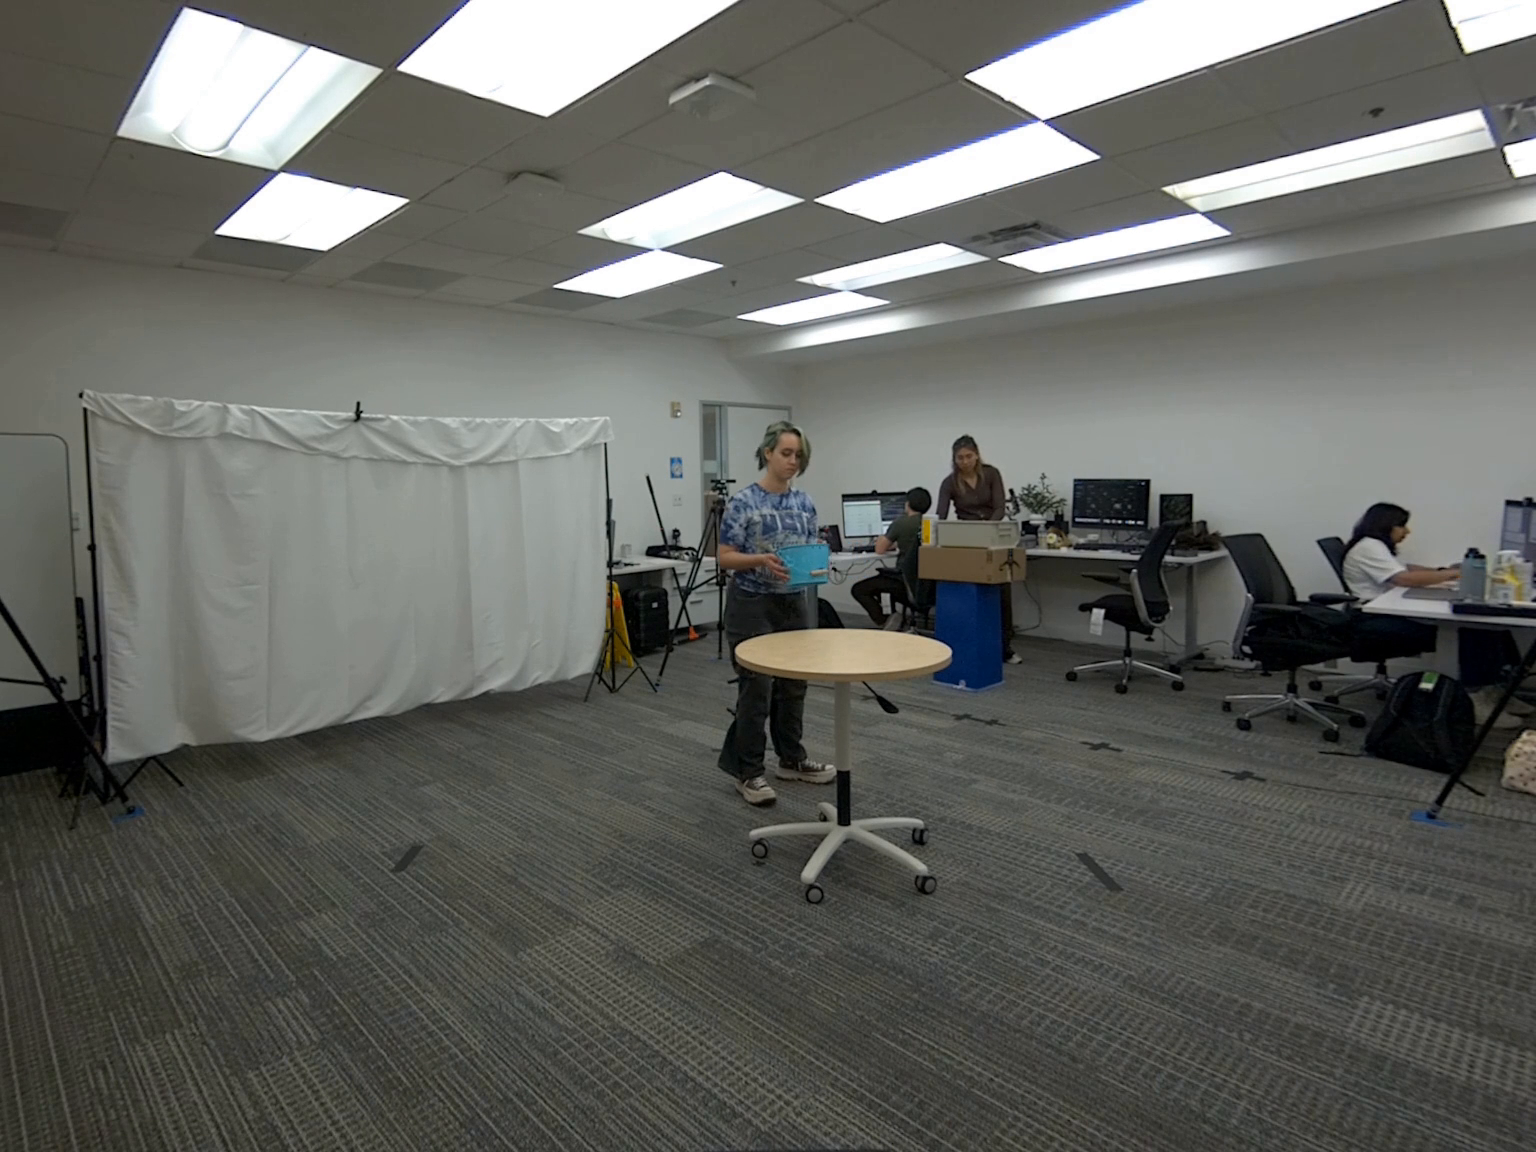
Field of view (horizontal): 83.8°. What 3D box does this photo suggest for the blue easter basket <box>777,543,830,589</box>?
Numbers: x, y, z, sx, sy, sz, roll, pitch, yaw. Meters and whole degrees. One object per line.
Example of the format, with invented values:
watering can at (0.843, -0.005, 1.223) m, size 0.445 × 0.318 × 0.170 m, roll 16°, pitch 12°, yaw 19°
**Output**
blue easter basket at (0.157, -0.038, 3.551) m, size 0.243 × 0.157 × 0.242 m, roll -4°, pitch -8°, yaw -2°
